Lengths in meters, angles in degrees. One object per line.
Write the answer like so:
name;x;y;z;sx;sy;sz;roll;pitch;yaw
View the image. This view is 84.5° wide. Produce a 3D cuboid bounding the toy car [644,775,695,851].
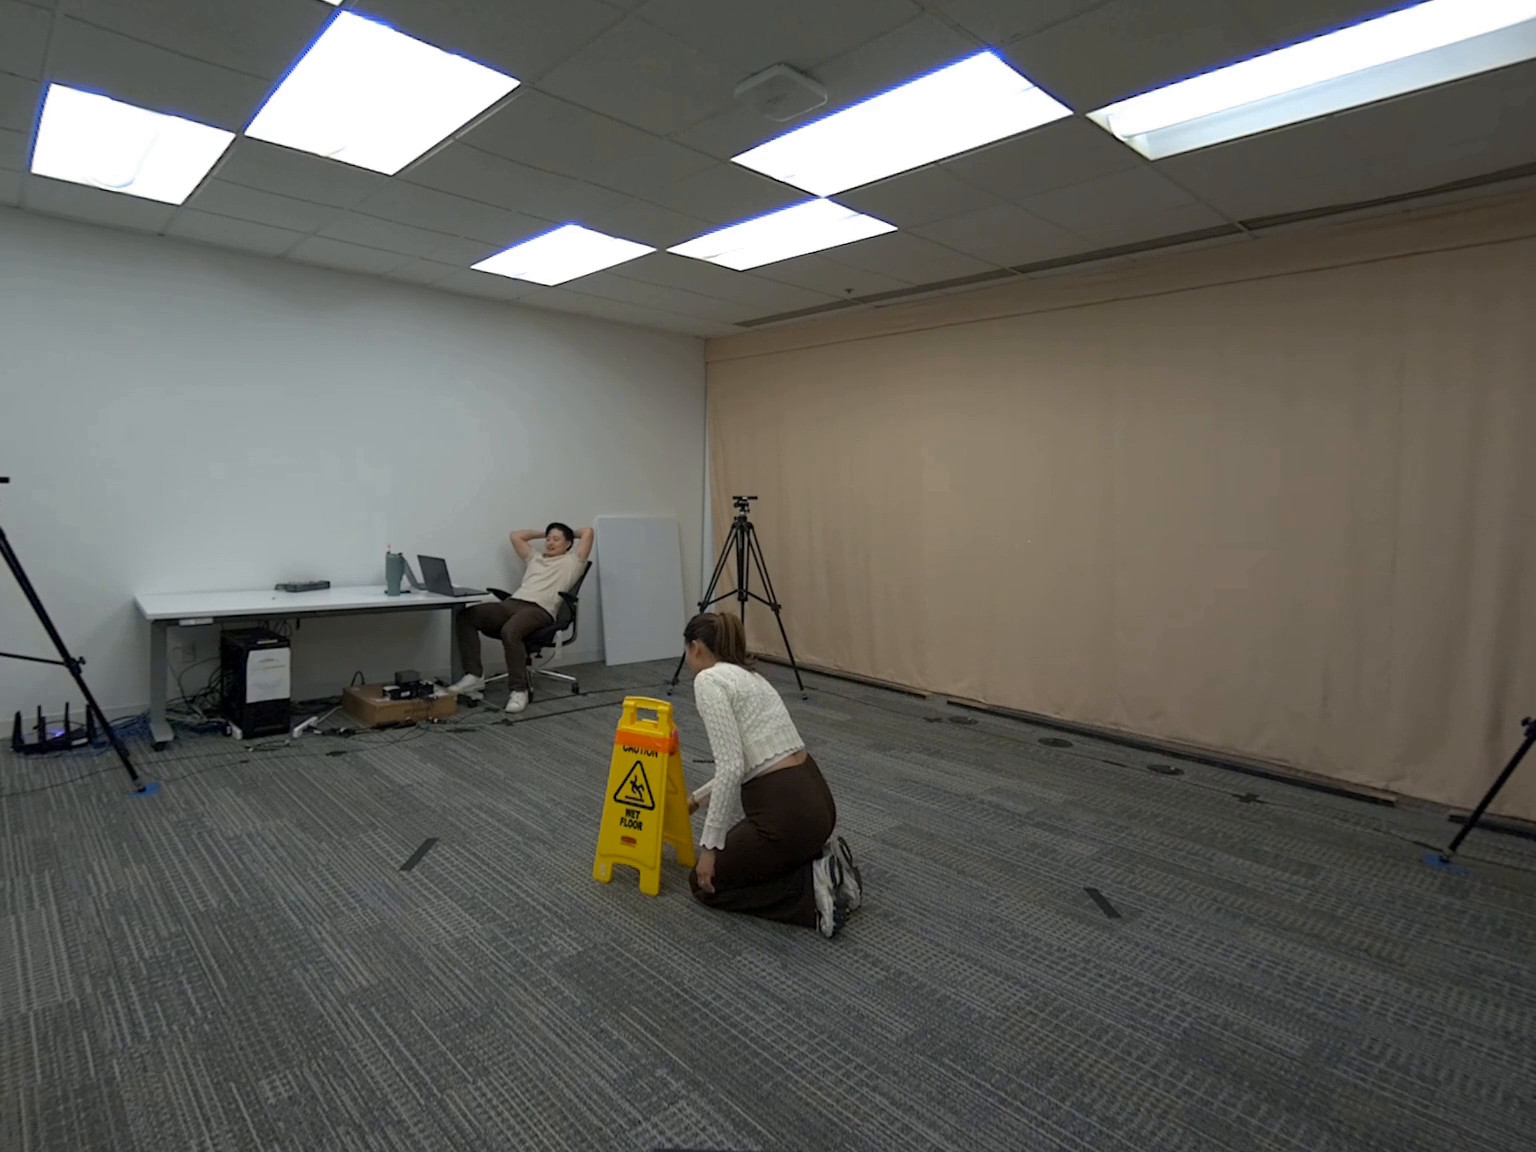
toy car;-0.377;0.900;3.230;0.132;0.254;0.082;-7;3;26
